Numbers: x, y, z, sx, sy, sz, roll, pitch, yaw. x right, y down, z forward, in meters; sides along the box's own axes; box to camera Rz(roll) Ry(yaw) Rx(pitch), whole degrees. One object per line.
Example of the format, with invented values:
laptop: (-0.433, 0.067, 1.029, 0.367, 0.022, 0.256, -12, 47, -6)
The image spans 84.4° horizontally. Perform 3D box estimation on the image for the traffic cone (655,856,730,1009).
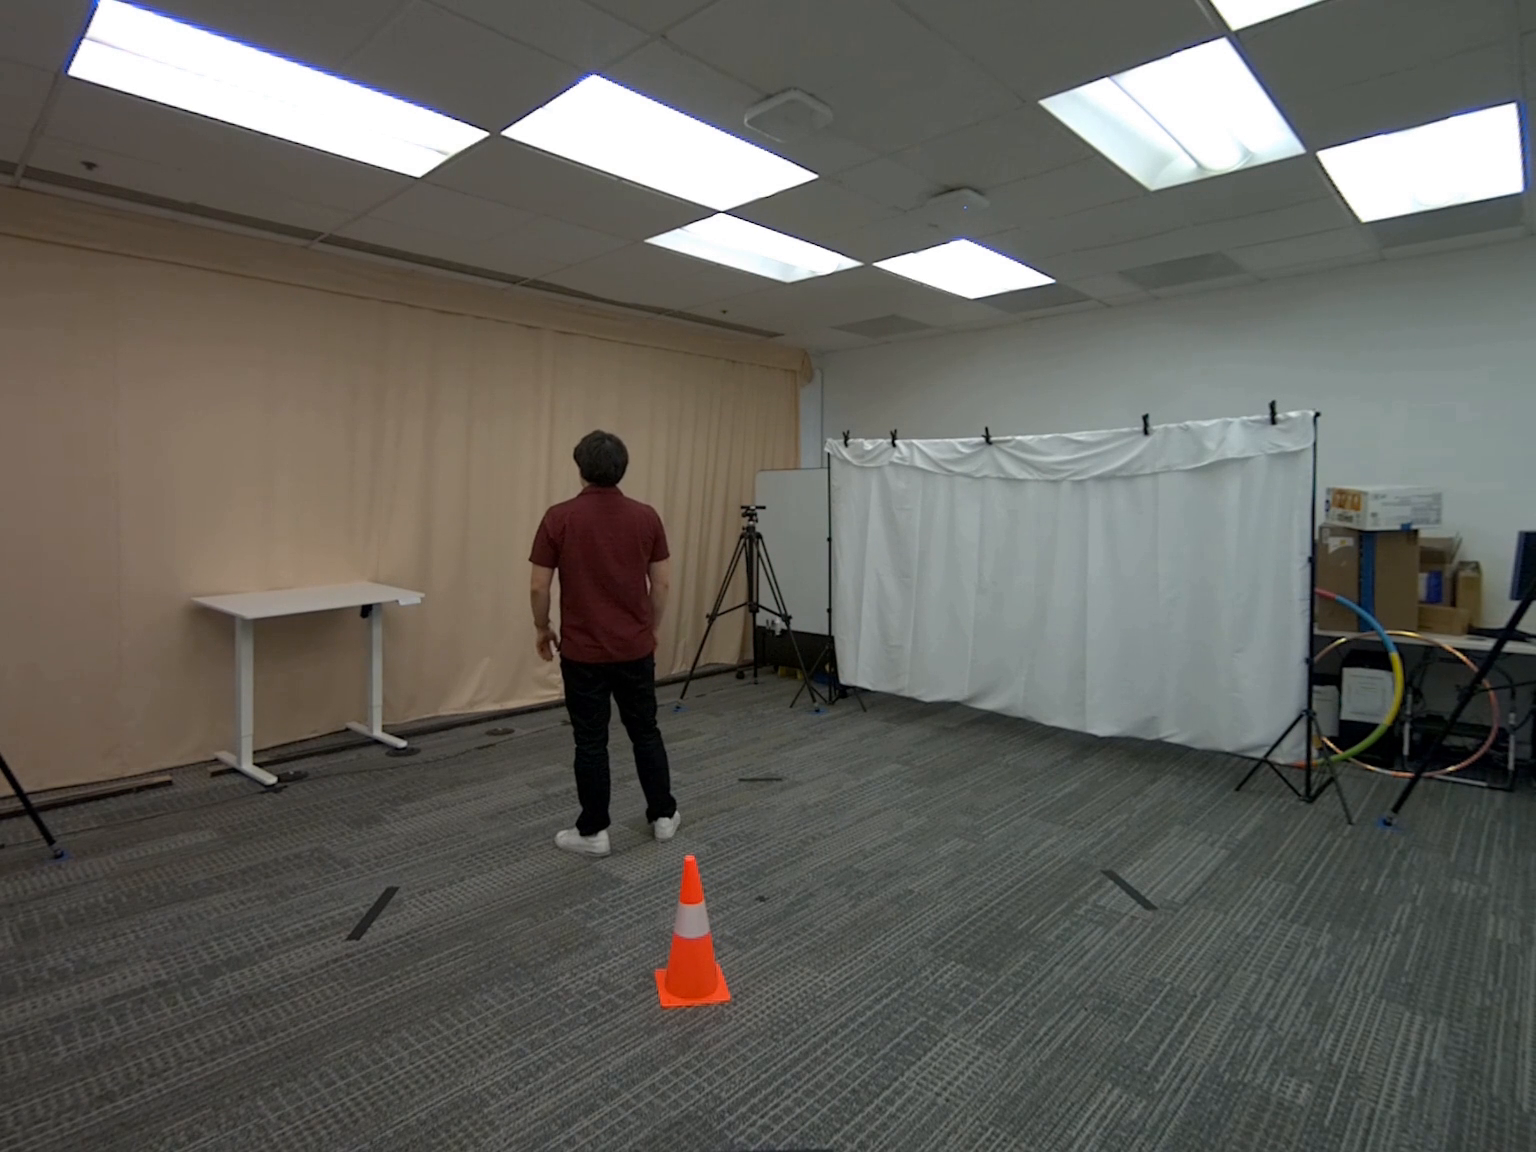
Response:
traffic cone: (-0.216, 1.004, 2.437, 0.200, 0.383, 0.208, 0, 2, -14)
